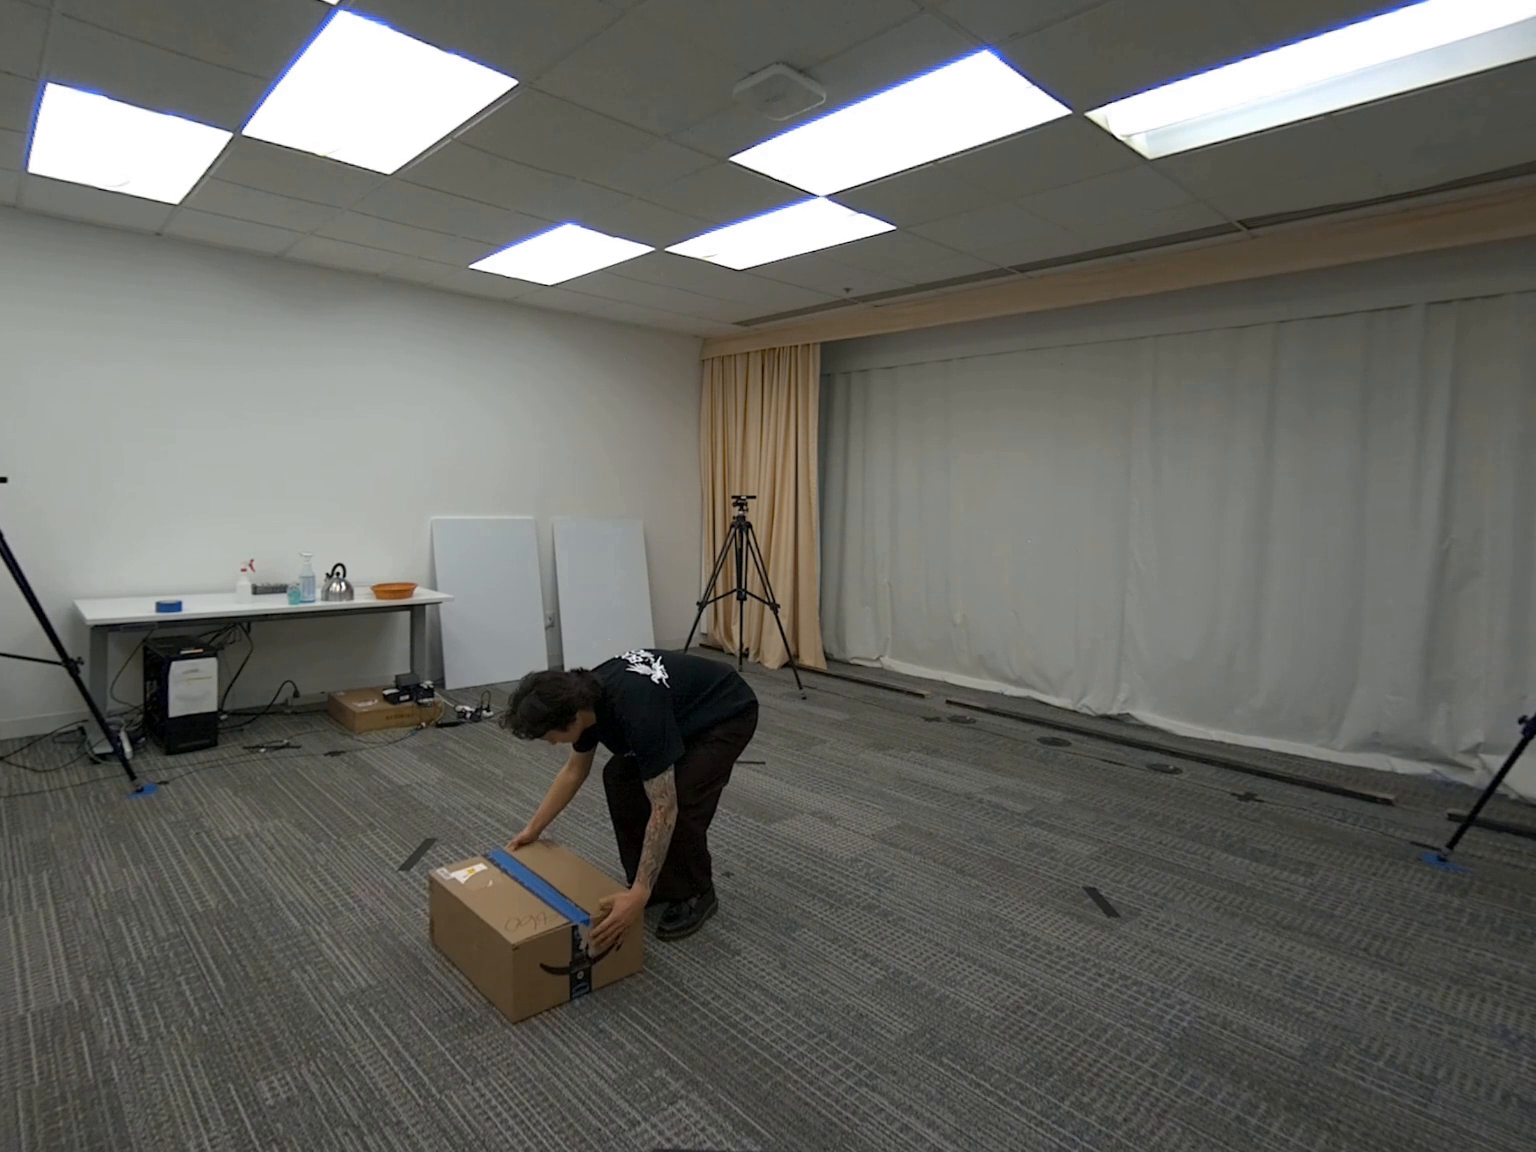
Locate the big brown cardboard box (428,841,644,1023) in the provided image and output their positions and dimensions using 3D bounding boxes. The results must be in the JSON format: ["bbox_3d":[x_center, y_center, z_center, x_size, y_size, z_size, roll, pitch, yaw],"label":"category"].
[{"bbox_3d":[-0.711,1.028,2.540,0.408,0.232,0.604,-3,7,-43],"label":"big brown cardboard box"}]
